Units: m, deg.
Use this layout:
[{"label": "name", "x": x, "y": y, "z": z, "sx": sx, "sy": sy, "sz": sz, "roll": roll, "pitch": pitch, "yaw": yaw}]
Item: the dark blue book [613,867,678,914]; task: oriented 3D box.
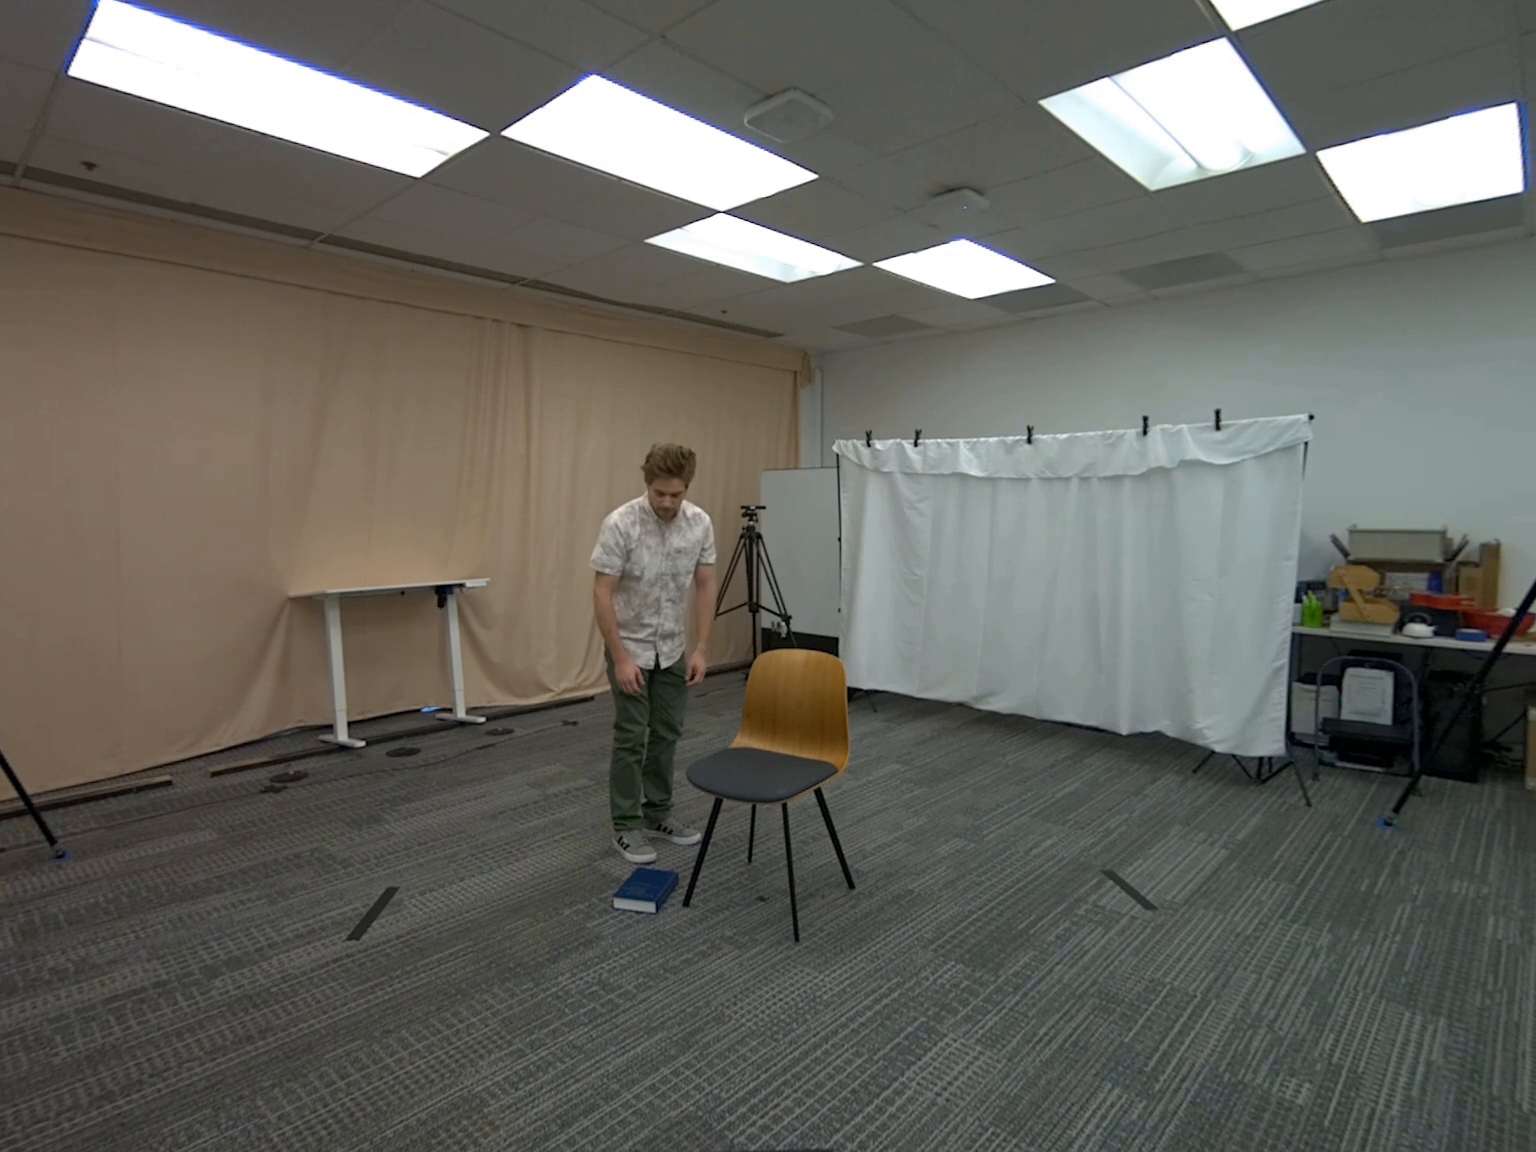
[{"label": "dark blue book", "x": -0.436, "y": 1.117, "z": 3.011, "sx": 0.166, "sy": 0.045, "sz": 0.242, "roll": 0, "pitch": 5, "yaw": 14}]
